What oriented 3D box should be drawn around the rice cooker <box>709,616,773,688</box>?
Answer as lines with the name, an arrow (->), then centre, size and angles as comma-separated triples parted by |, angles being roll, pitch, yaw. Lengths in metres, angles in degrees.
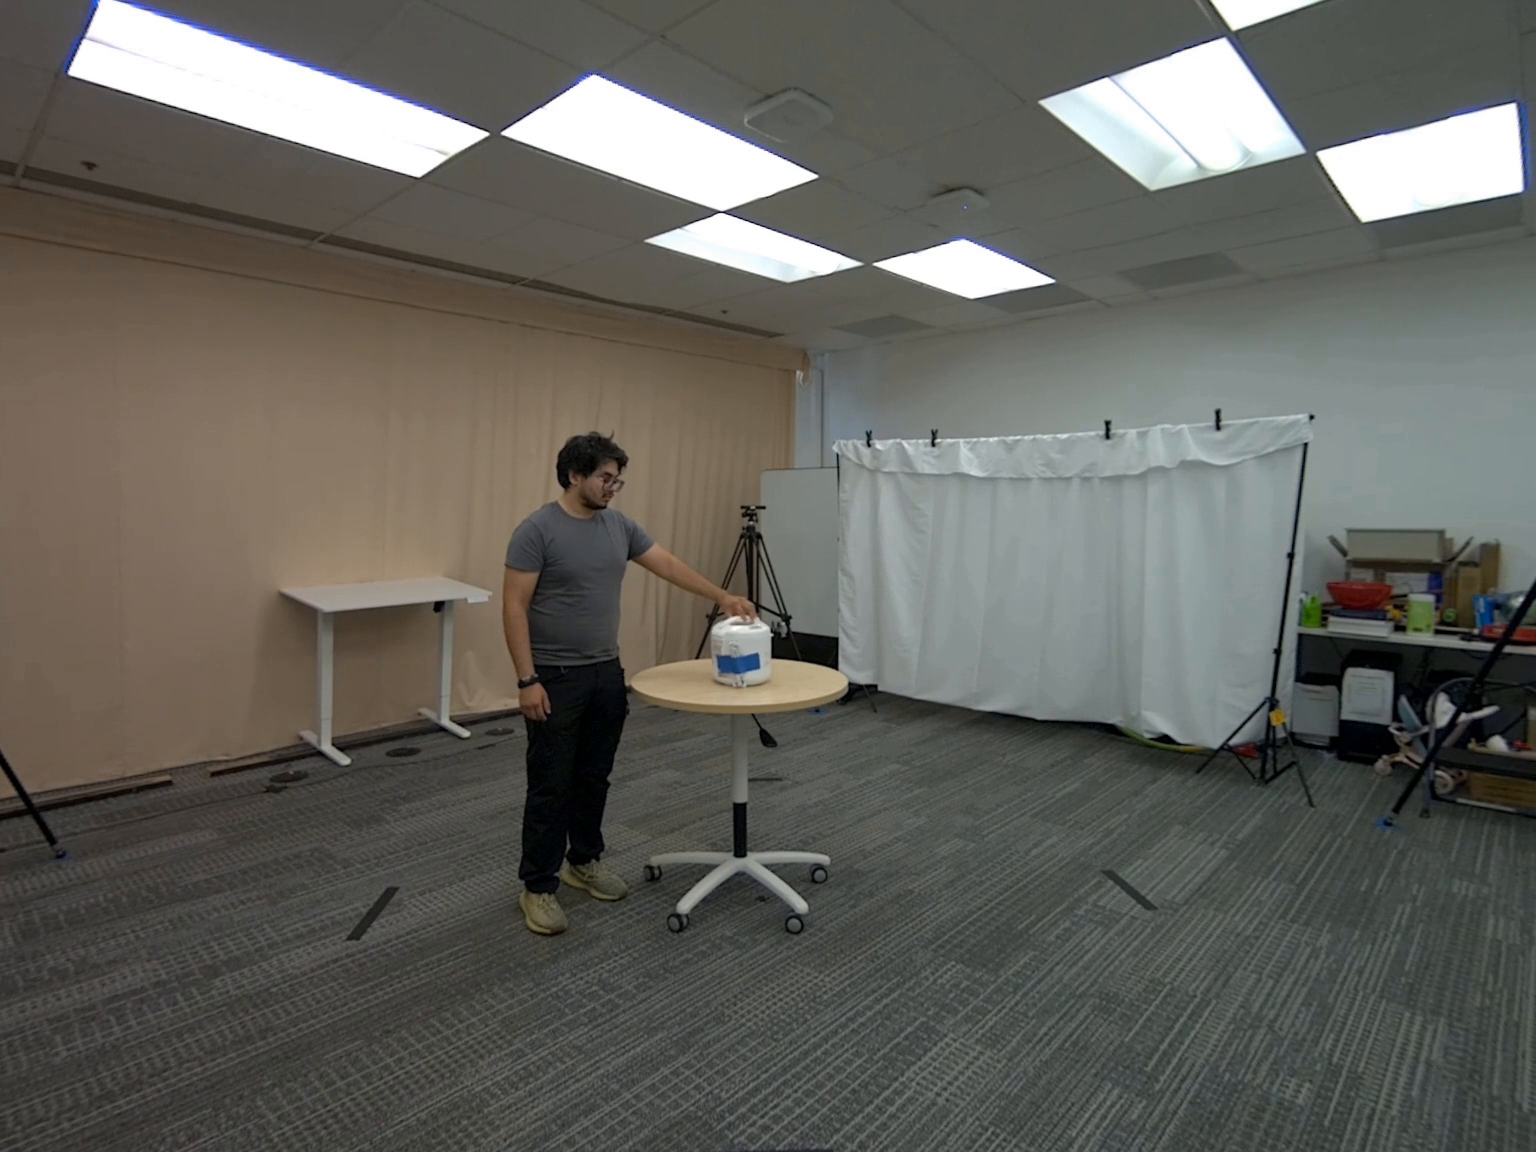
rice cooker -> -0.091, 0.253, 2.922 | 0.214, 0.232, 0.225 | -3, 7, -39
